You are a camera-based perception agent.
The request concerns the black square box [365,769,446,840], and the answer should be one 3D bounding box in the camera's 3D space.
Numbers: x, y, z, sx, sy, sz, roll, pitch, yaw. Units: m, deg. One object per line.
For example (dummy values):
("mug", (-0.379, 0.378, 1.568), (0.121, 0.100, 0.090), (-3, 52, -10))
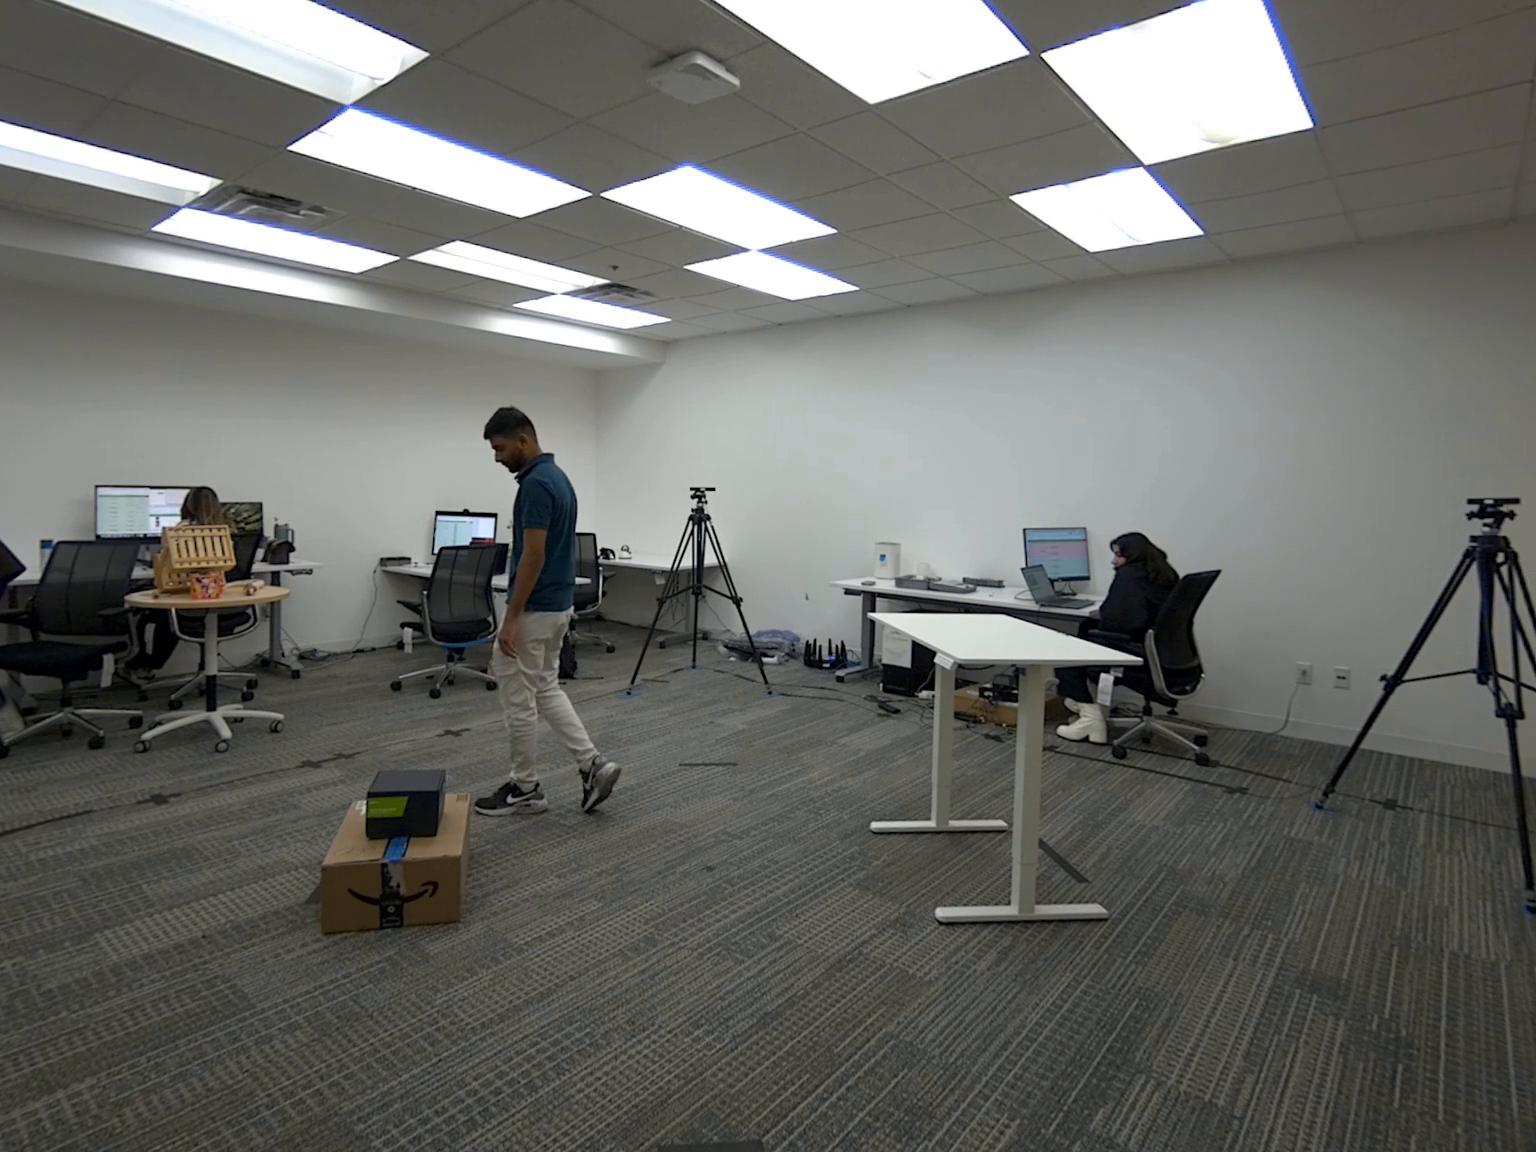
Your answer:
("black square box", (-1.254, 0.768, 2.916), (0.225, 0.155, 0.221), (1, 6, -13))
